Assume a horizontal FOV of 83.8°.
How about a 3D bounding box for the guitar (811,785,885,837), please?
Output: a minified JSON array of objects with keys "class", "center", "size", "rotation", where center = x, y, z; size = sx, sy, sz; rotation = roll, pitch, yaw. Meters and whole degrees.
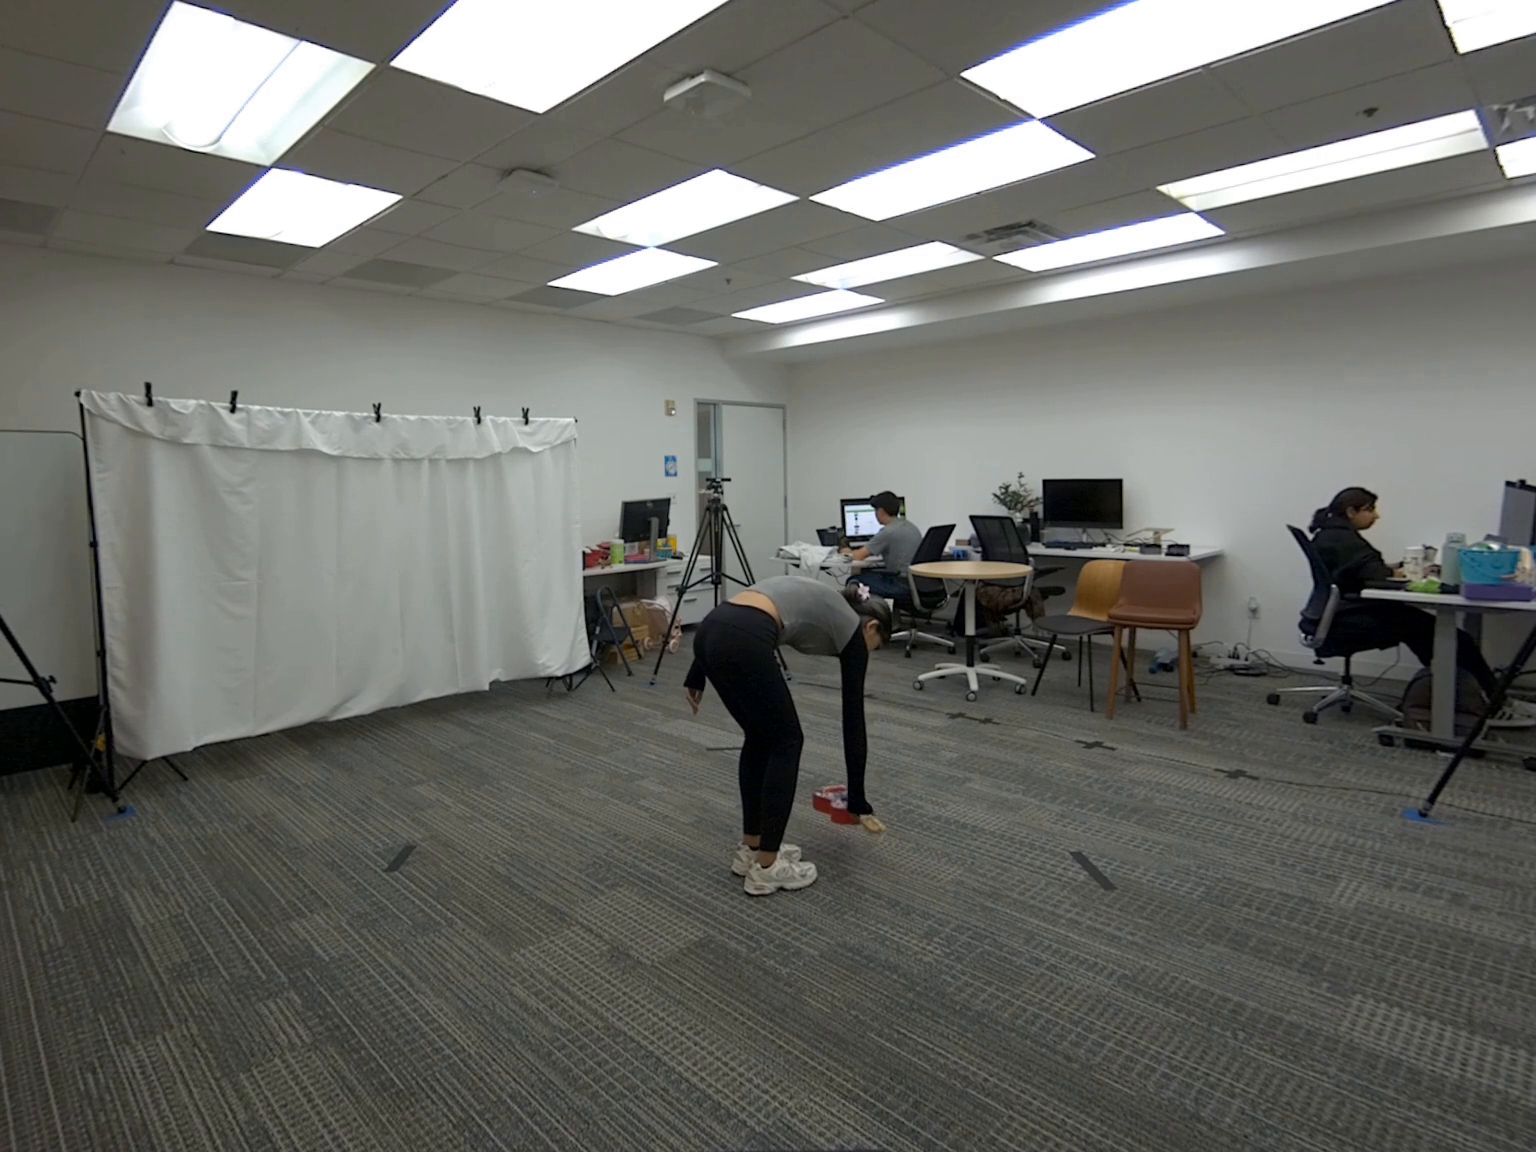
[{"class":"guitar","center":[0.286,0.851,3.060],"size":[0.192,0.070,0.501],"rotation":[-3,4,-5]}]
